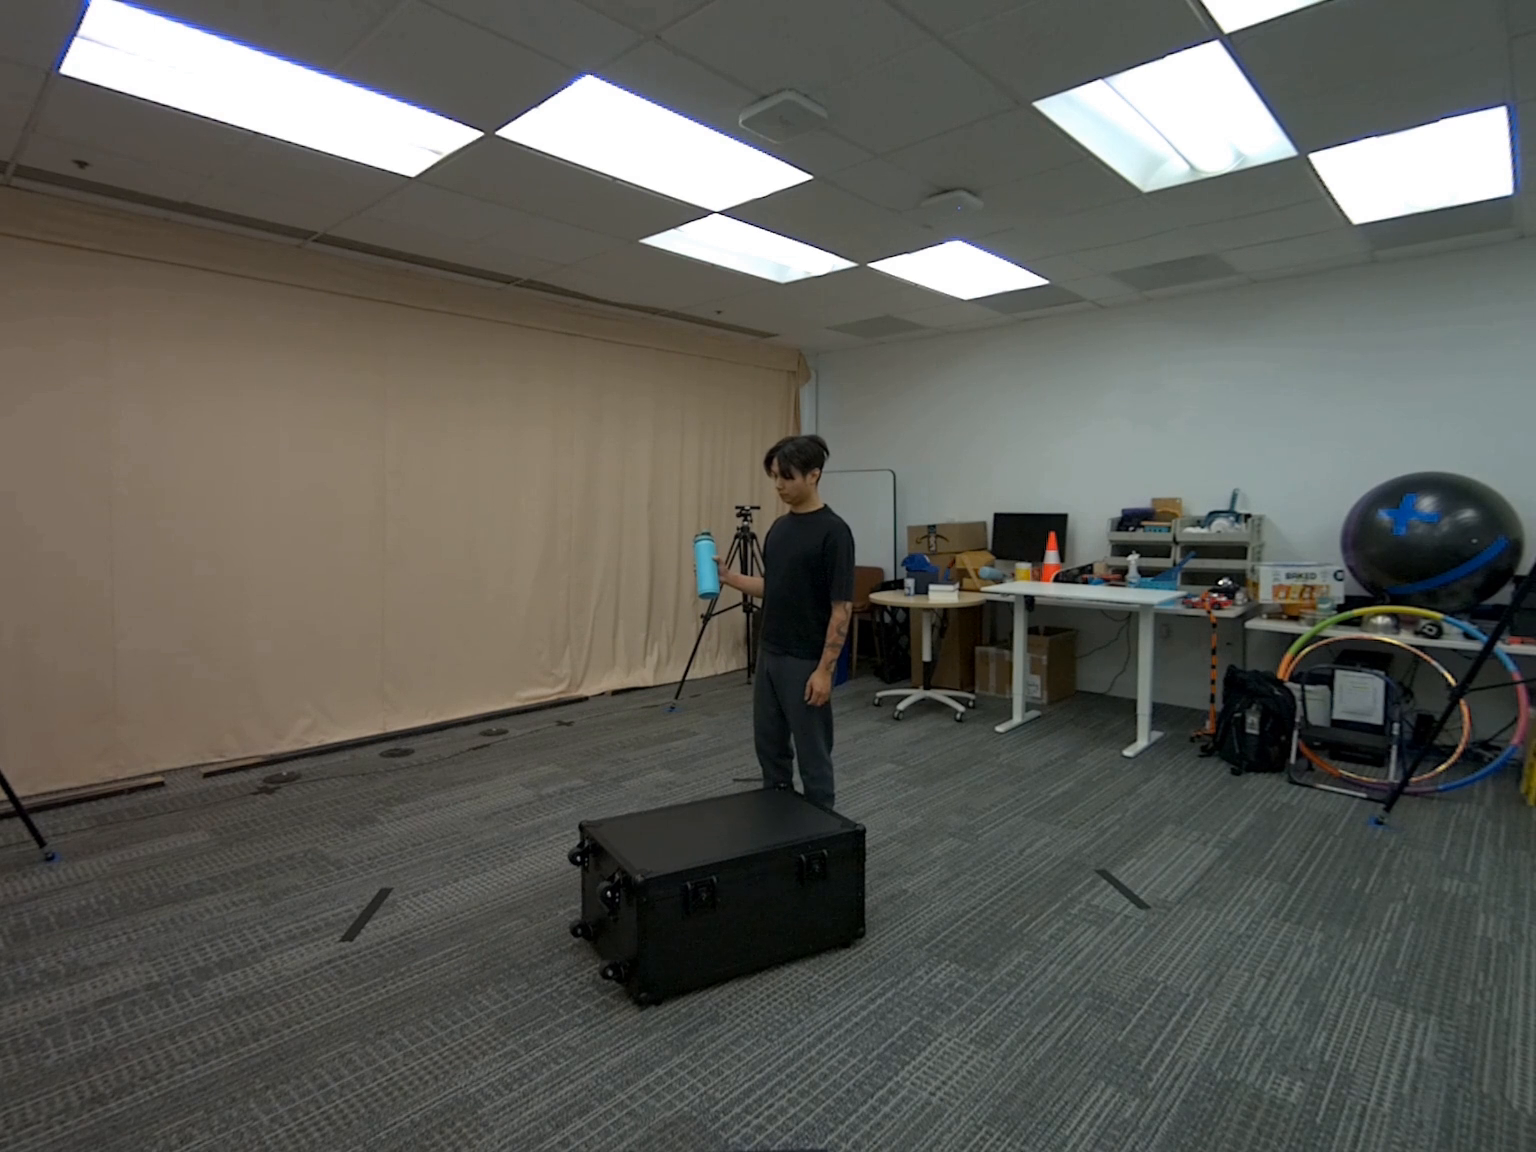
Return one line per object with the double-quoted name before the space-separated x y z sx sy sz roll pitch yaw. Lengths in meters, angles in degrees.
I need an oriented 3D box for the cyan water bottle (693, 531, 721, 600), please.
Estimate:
"cyan water bottle" -0.244 -0.051 3.433 0.092 0.287 0.091 -6 -20 -4
